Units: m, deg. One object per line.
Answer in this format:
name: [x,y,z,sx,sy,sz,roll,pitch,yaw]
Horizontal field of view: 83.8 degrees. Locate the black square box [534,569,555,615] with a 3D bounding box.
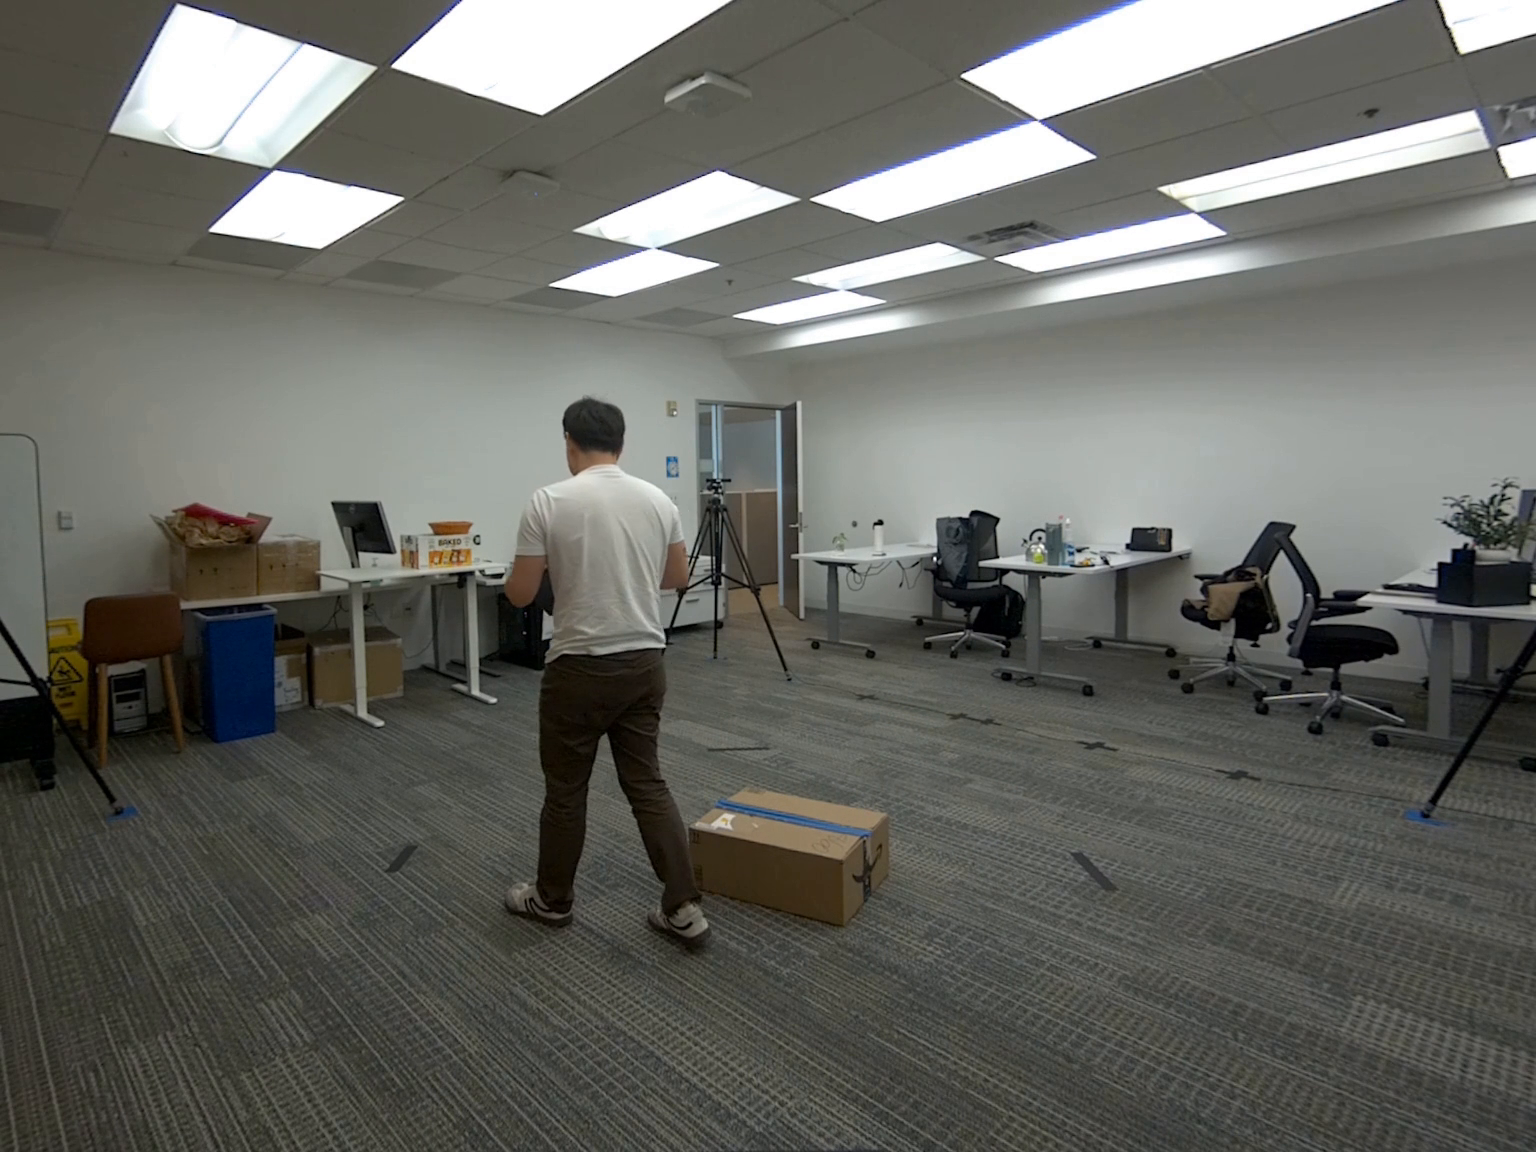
black square box: [-0.667,-0.003,2.881,0.227,0.160,0.212,-20,-21,-4]
